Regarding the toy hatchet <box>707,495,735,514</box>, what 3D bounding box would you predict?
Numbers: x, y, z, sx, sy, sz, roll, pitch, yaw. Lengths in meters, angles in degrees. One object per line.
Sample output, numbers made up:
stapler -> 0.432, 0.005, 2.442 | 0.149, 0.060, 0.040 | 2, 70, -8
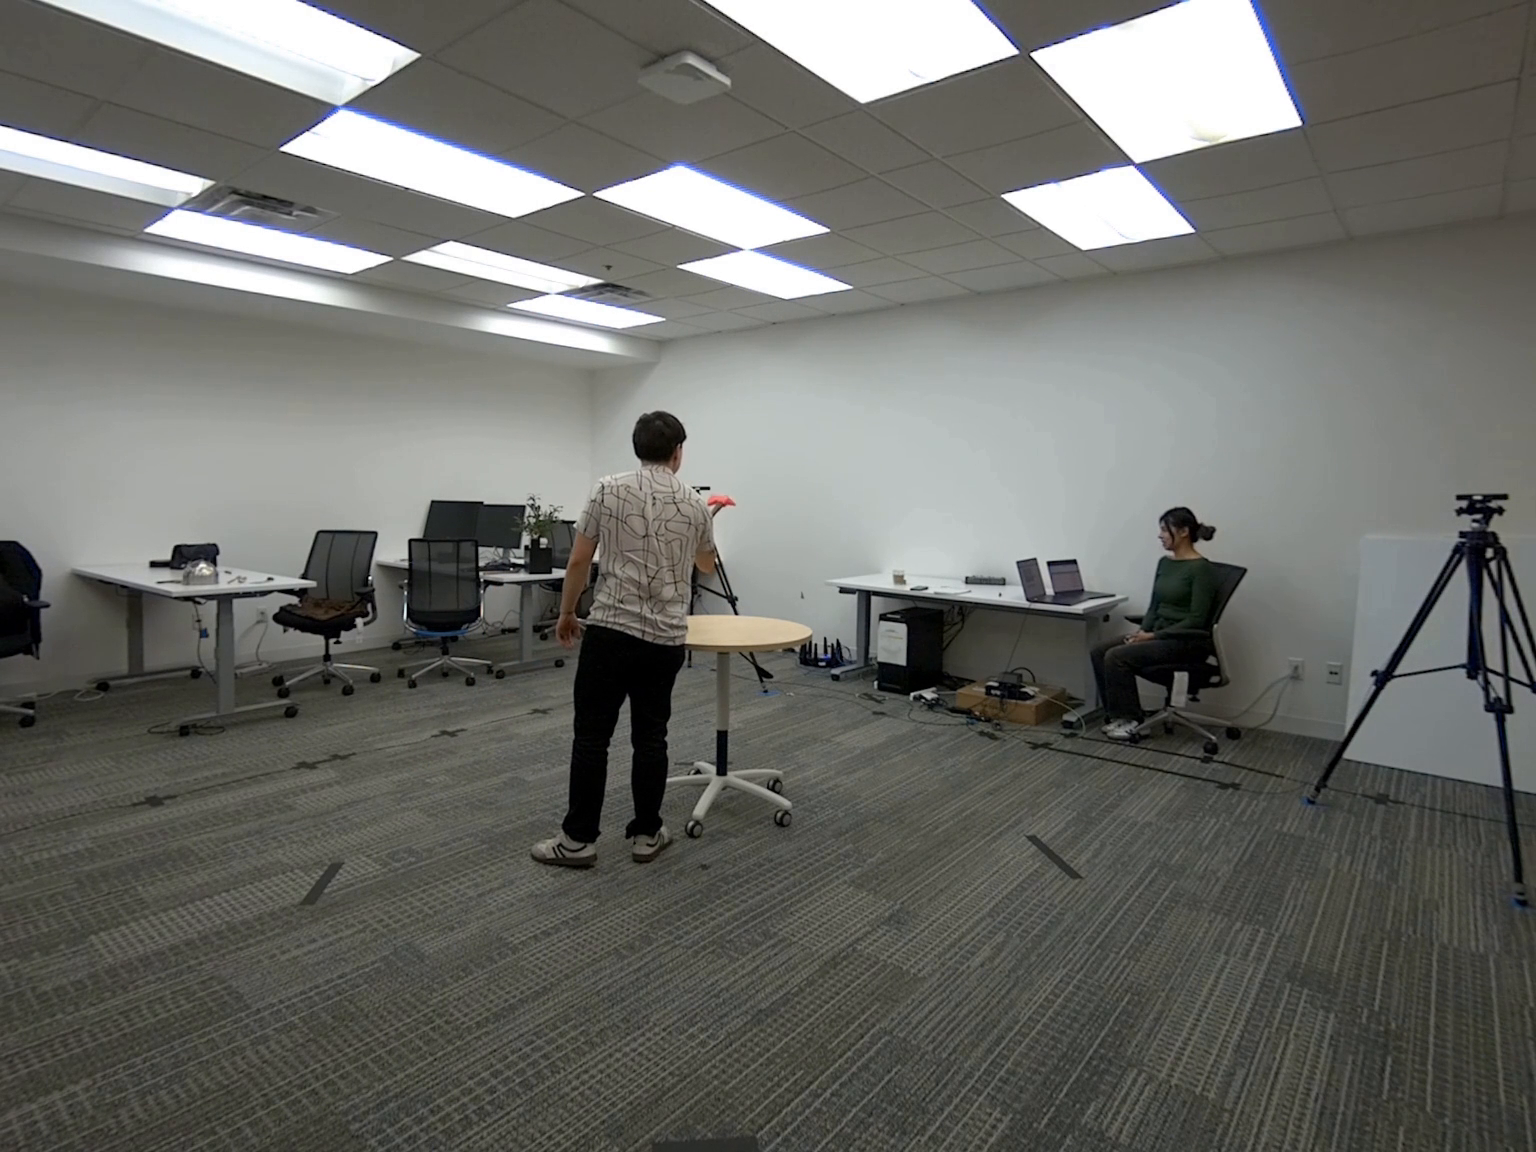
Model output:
toy hatchet -> -0.287, -0.285, 3.765 | 0.268, 0.028, 0.136 | -33, 51, -21
